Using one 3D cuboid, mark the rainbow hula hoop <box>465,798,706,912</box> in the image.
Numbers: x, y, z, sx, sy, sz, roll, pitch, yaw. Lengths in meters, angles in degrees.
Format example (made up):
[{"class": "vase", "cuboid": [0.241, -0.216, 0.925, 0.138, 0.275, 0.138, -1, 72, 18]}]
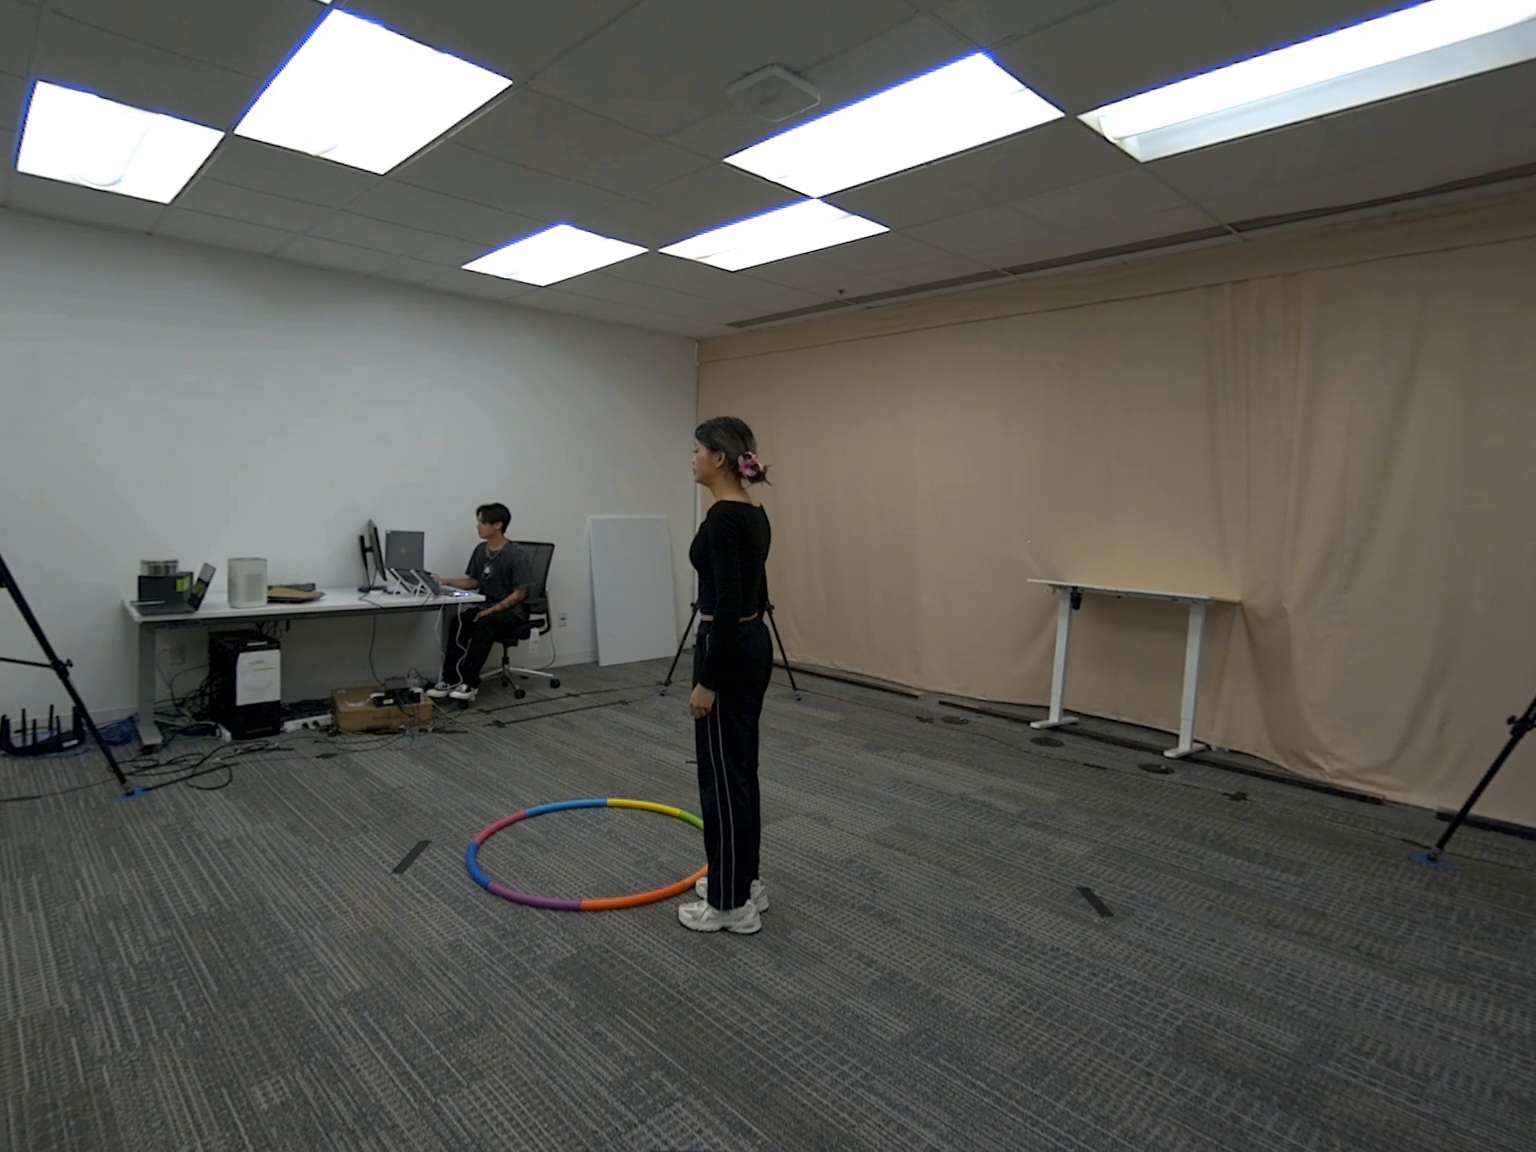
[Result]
[{"class": "rainbow hula hoop", "cuboid": [-0.674, 1.048, 3.299, 0.978, 0.035, 0.982, 2, 5, -1]}]
